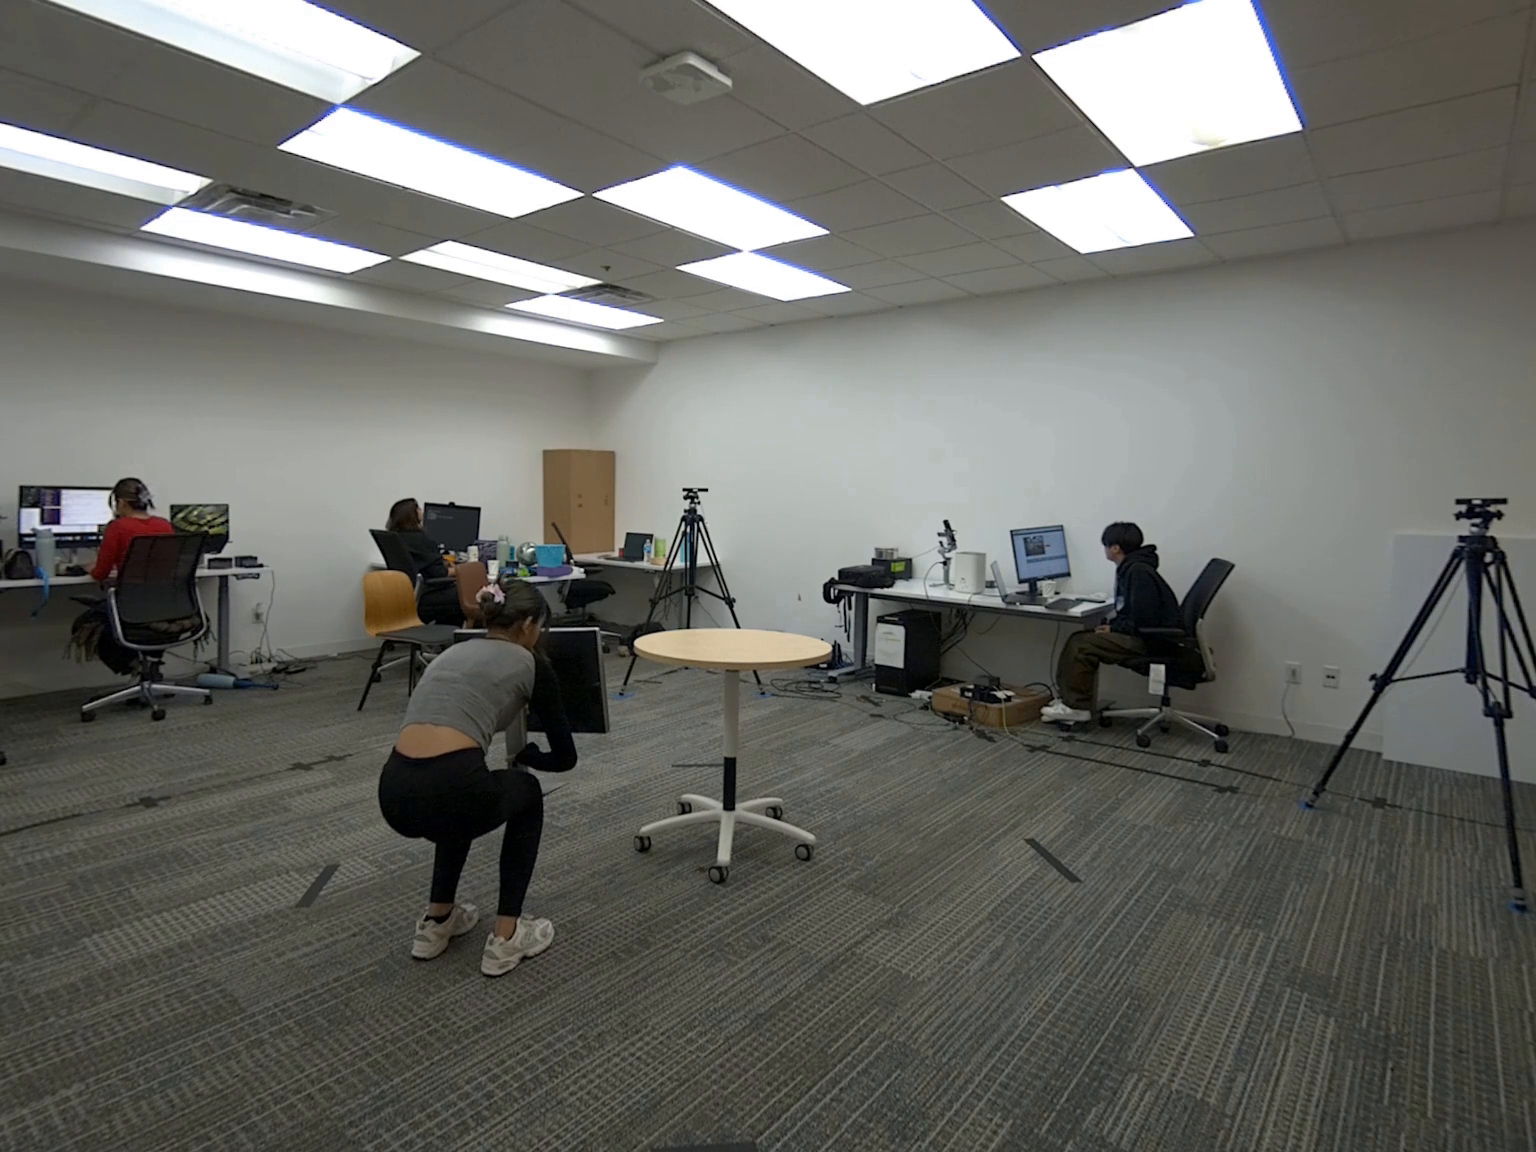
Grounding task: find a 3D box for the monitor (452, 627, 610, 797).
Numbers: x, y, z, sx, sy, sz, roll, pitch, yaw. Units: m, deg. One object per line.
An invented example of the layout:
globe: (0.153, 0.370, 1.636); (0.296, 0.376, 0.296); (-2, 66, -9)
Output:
monitor: (-0.841, 0.459, 2.901); (0.547, 0.526, 0.183); (-2, -6, 14)
